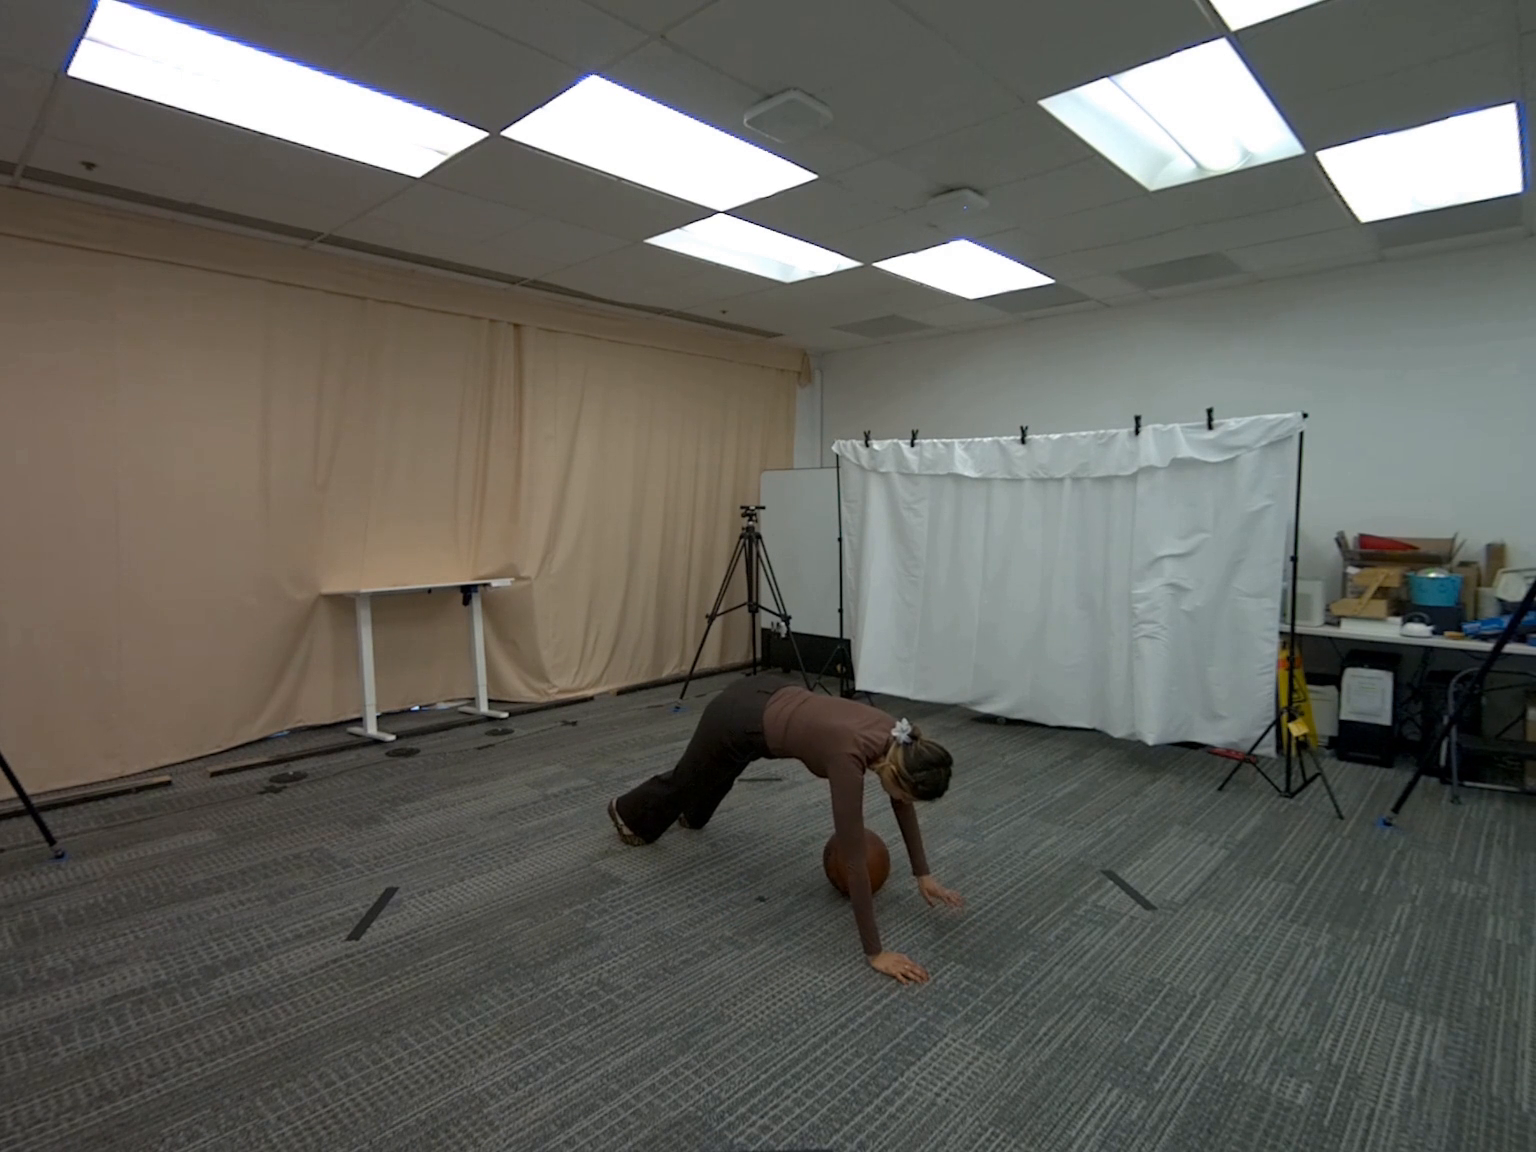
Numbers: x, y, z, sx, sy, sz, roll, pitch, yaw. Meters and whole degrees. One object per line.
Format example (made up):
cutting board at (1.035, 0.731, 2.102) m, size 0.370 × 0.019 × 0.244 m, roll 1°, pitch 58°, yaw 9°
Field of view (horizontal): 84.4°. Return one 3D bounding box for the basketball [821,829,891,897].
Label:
basketball at (0.322, 1.020, 3.017) m, size 0.236 × 0.235 × 0.237 m, roll 0°, pitch 4°, yaw -2°
